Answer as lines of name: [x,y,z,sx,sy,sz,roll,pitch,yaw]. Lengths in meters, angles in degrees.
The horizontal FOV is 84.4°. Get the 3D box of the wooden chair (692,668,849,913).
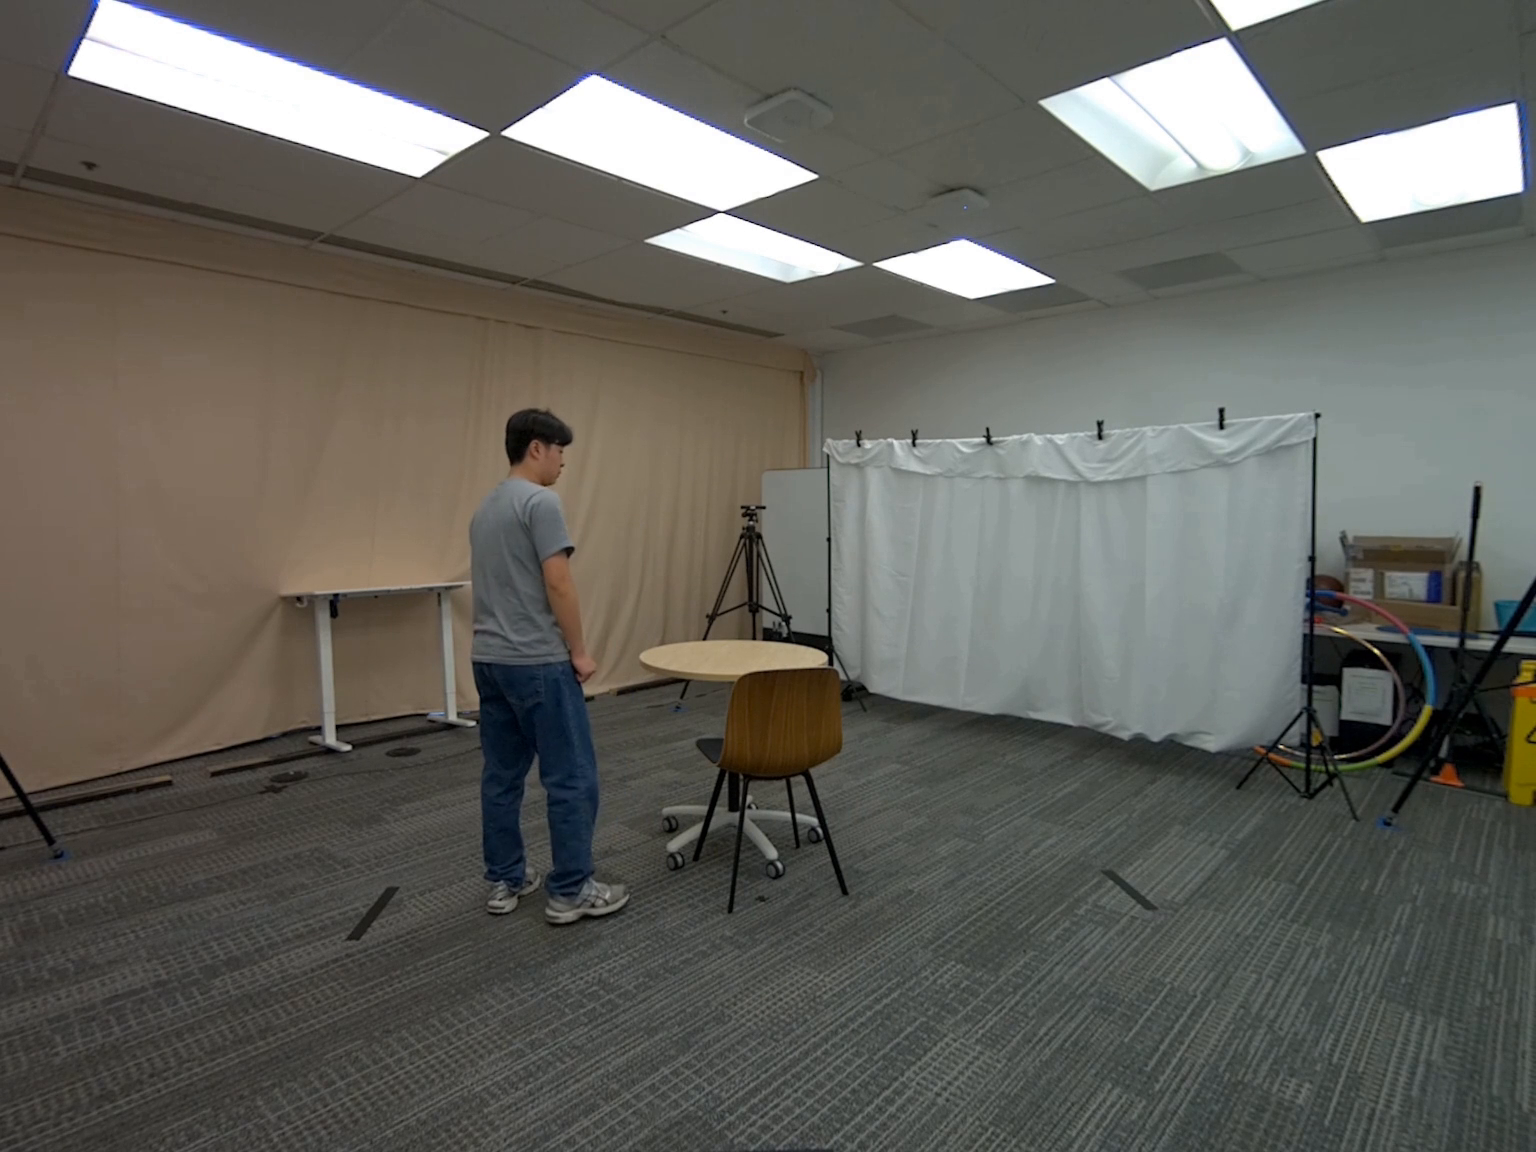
wooden chair: [-0.006,0.702,3.124,0.469,0.873,0.536,-2,8,-20]
